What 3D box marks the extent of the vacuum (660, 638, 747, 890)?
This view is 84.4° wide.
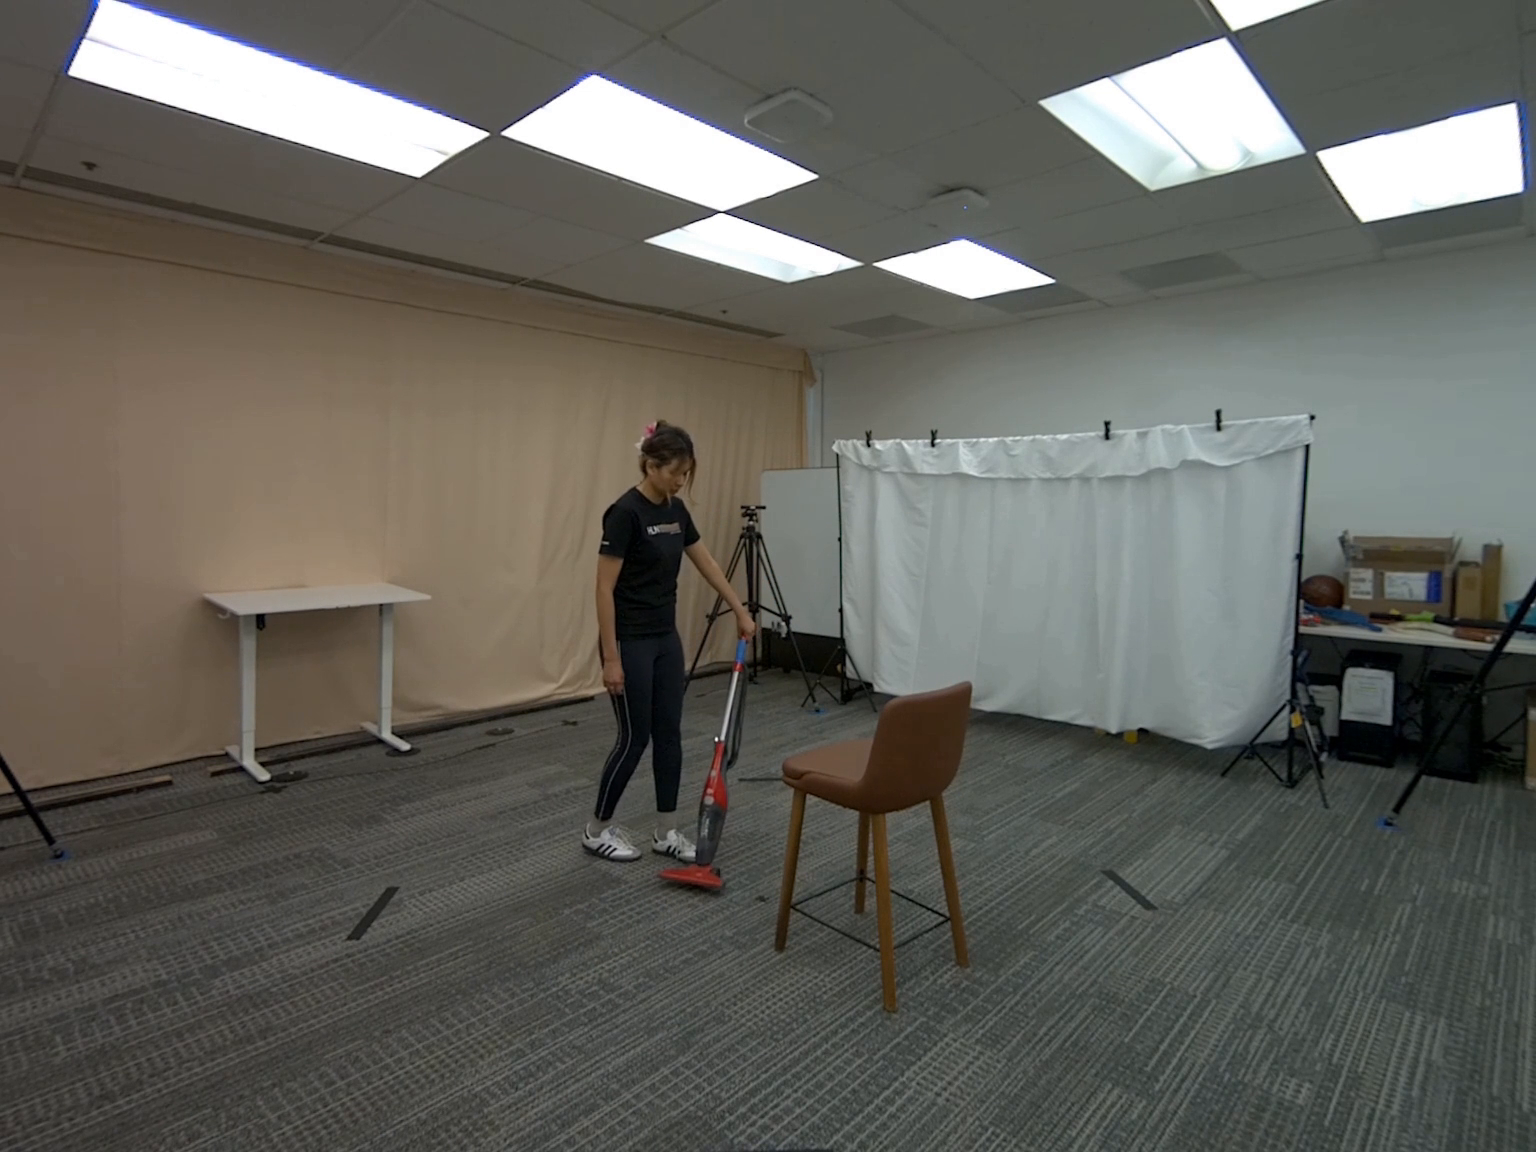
[{"bbox_3d":[-0.160,0.672,3.346,0.259,1.059,0.139,-3,-34,25],"label":"vacuum"}]
